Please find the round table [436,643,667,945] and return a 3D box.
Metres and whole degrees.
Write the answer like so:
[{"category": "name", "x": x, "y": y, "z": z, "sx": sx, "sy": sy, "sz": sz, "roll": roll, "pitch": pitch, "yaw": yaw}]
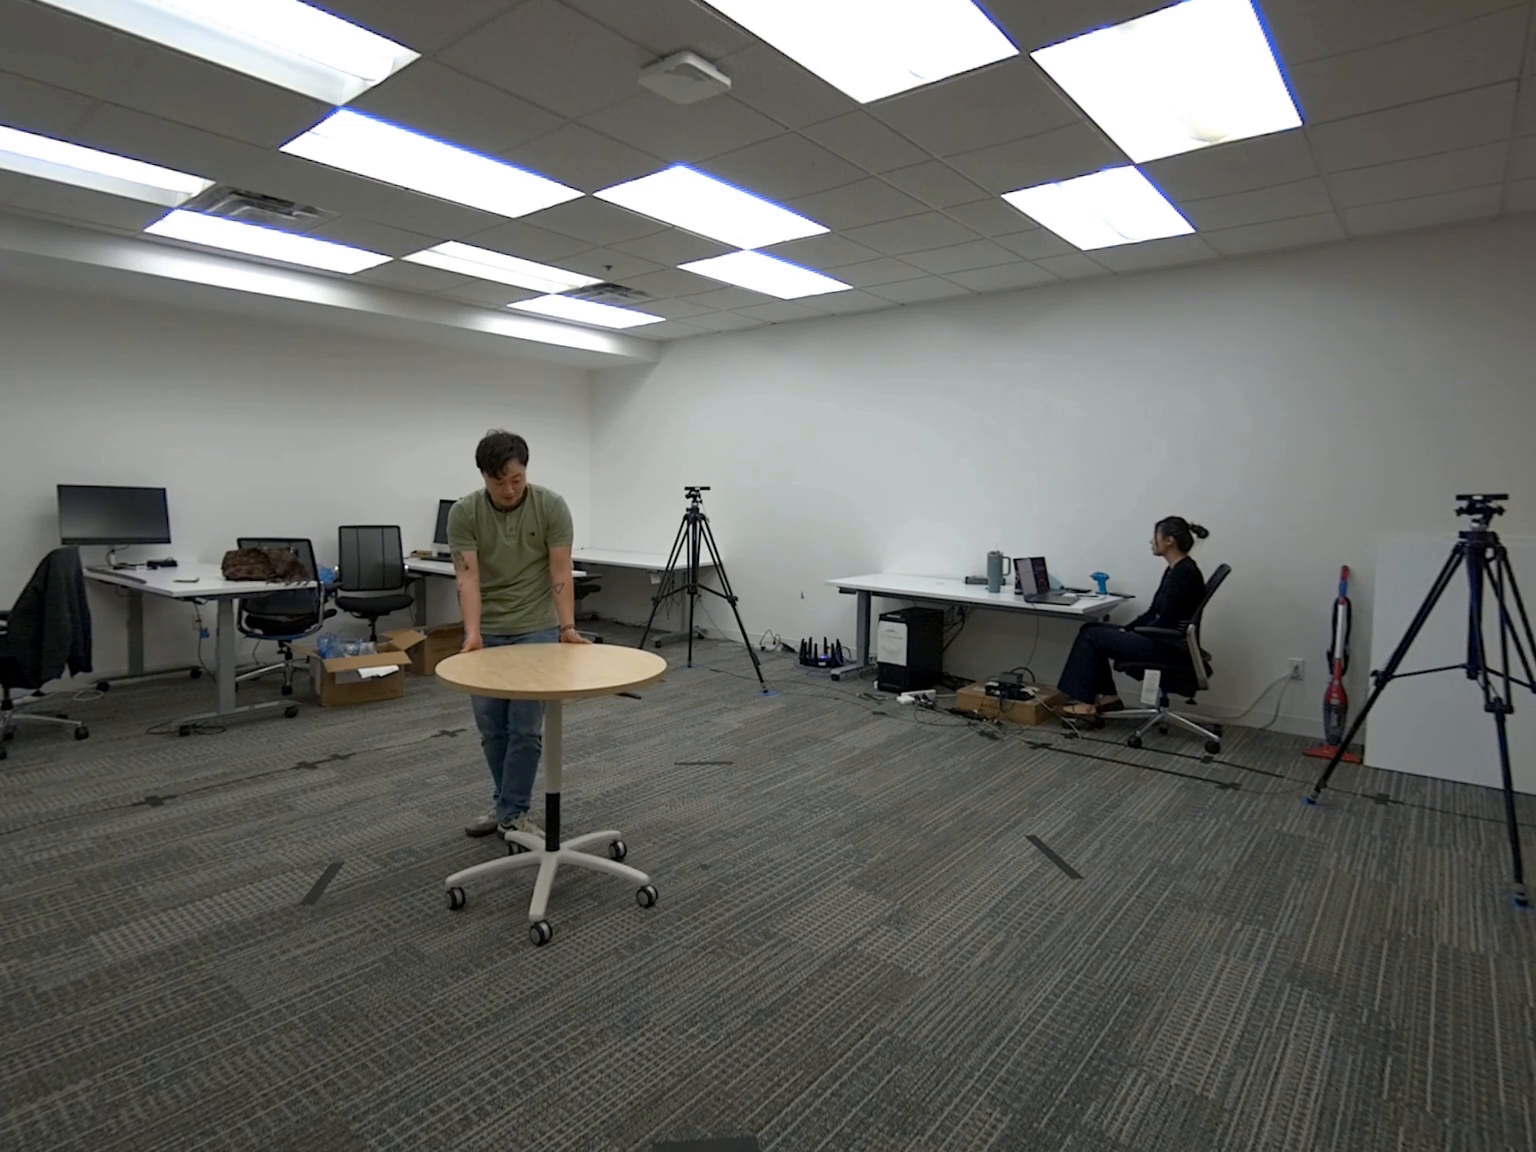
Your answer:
[{"category": "round table", "x": -0.740, "y": 0.688, "z": 2.901, "sx": 0.763, "sy": 0.791, "sz": 0.768, "roll": 1, "pitch": 4, "yaw": -2}]
